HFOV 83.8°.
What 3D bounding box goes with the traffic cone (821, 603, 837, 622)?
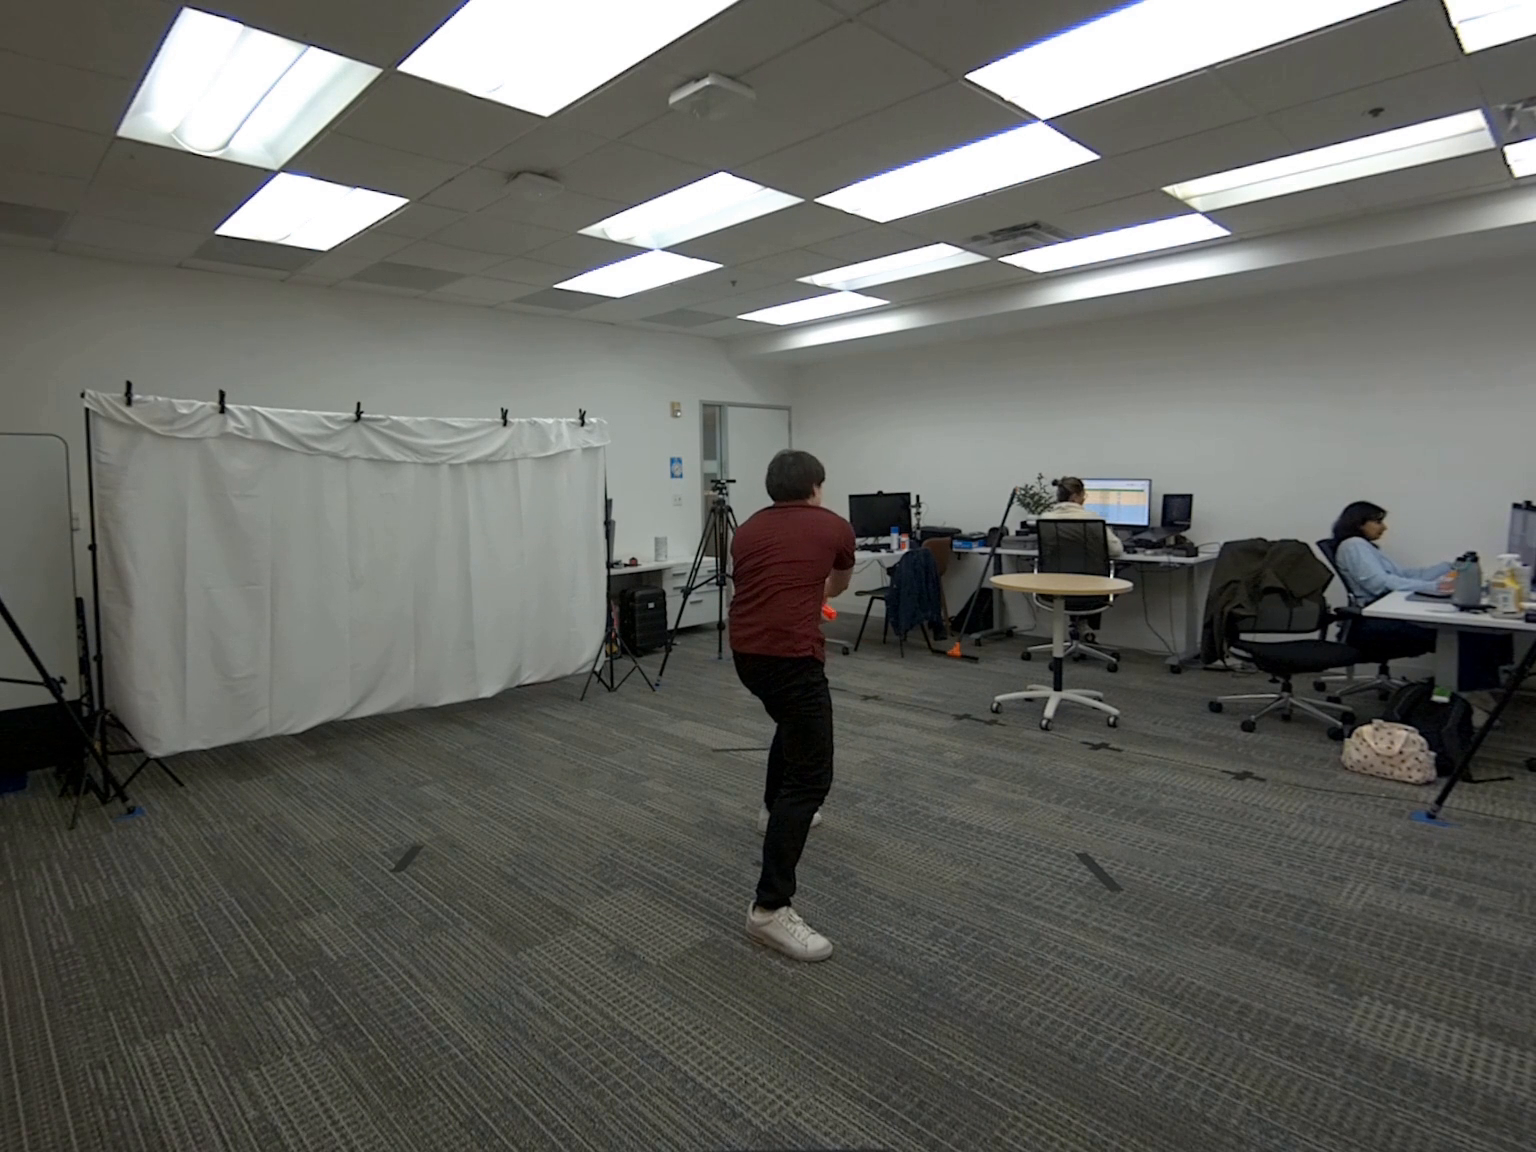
[{"bbox_3d":[0.124,0.112,3.585,0.398,0.203,0.198,19,4,42],"label":"traffic cone"}]
